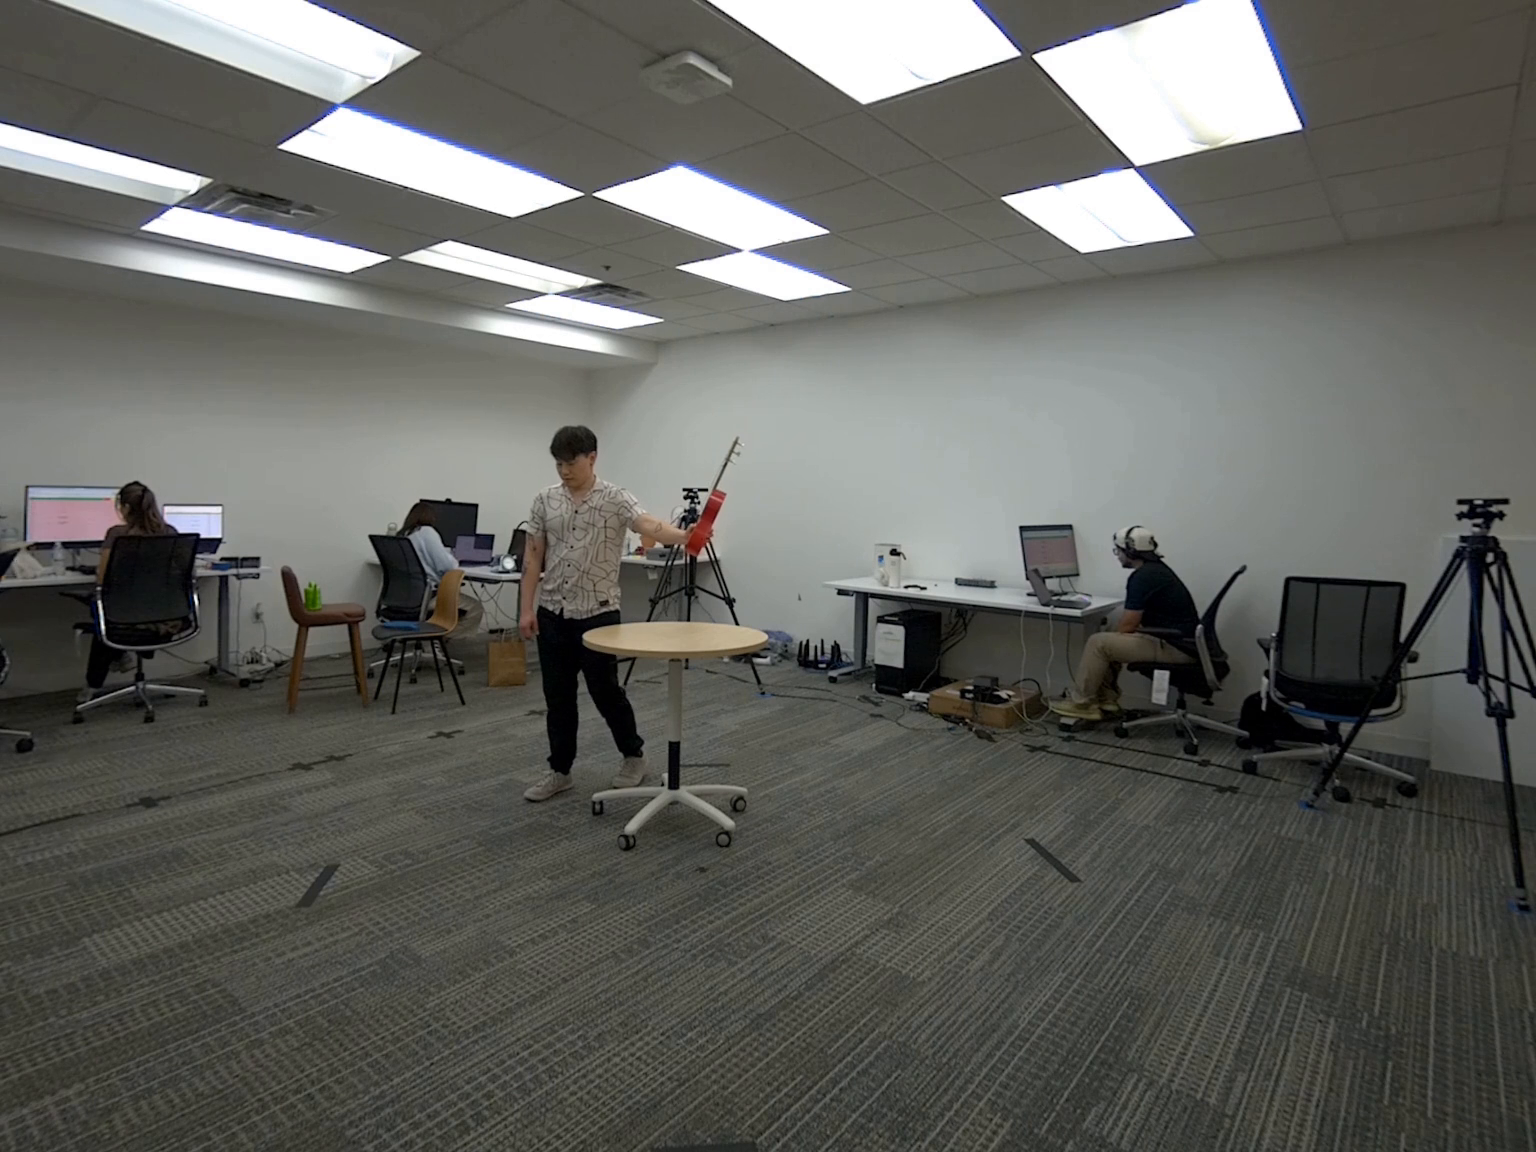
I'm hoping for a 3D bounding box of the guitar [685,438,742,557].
[{"bbox_3d":[-0.217,-0.308,3.312,0.070,0.495,0.195,23,14,-6],"label":"guitar"}]
